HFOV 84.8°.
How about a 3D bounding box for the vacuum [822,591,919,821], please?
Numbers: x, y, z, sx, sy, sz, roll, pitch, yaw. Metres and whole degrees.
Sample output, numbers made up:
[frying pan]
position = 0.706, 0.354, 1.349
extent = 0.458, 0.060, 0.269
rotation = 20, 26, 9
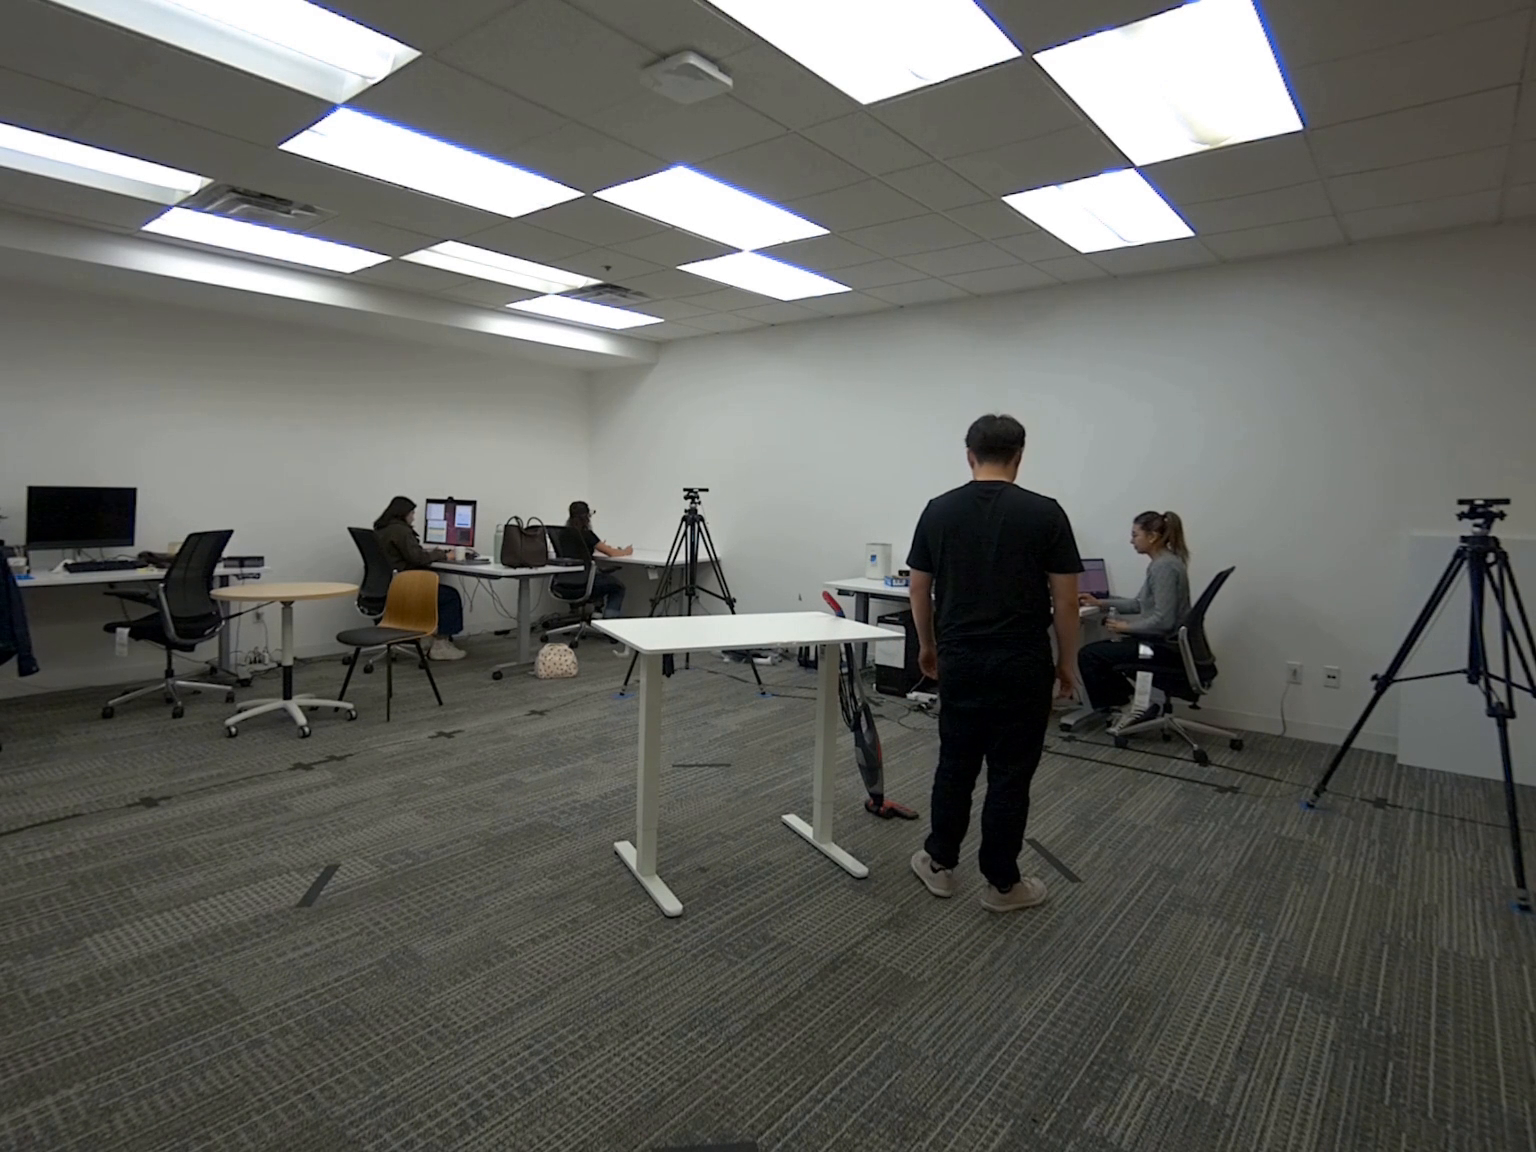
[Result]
[vacuum]
position = 0.372, 0.551, 3.582
extent = 0.142, 1.030, 0.261
rotation = -28, 19, -35
